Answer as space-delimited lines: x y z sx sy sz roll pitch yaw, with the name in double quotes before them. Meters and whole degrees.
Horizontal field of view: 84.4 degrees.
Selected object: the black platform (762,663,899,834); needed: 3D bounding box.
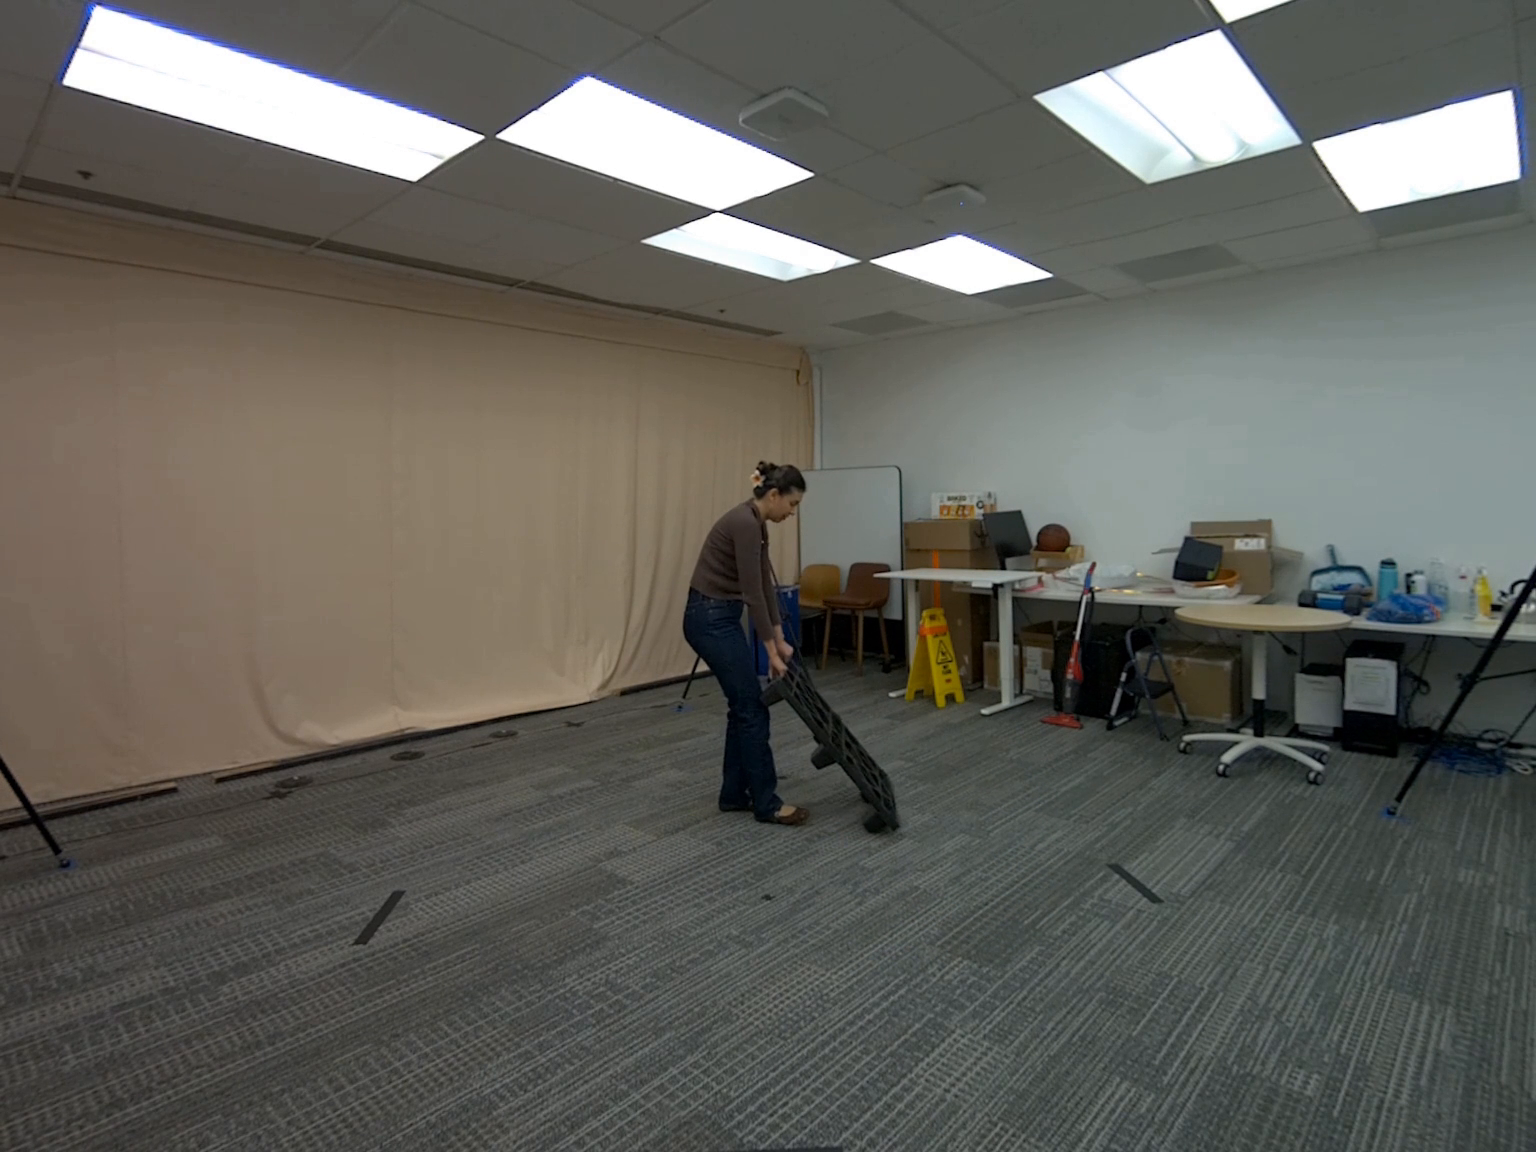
"black platform" 0.263 0.735 3.789 0.144 0.808 0.602 -39 -2 6
